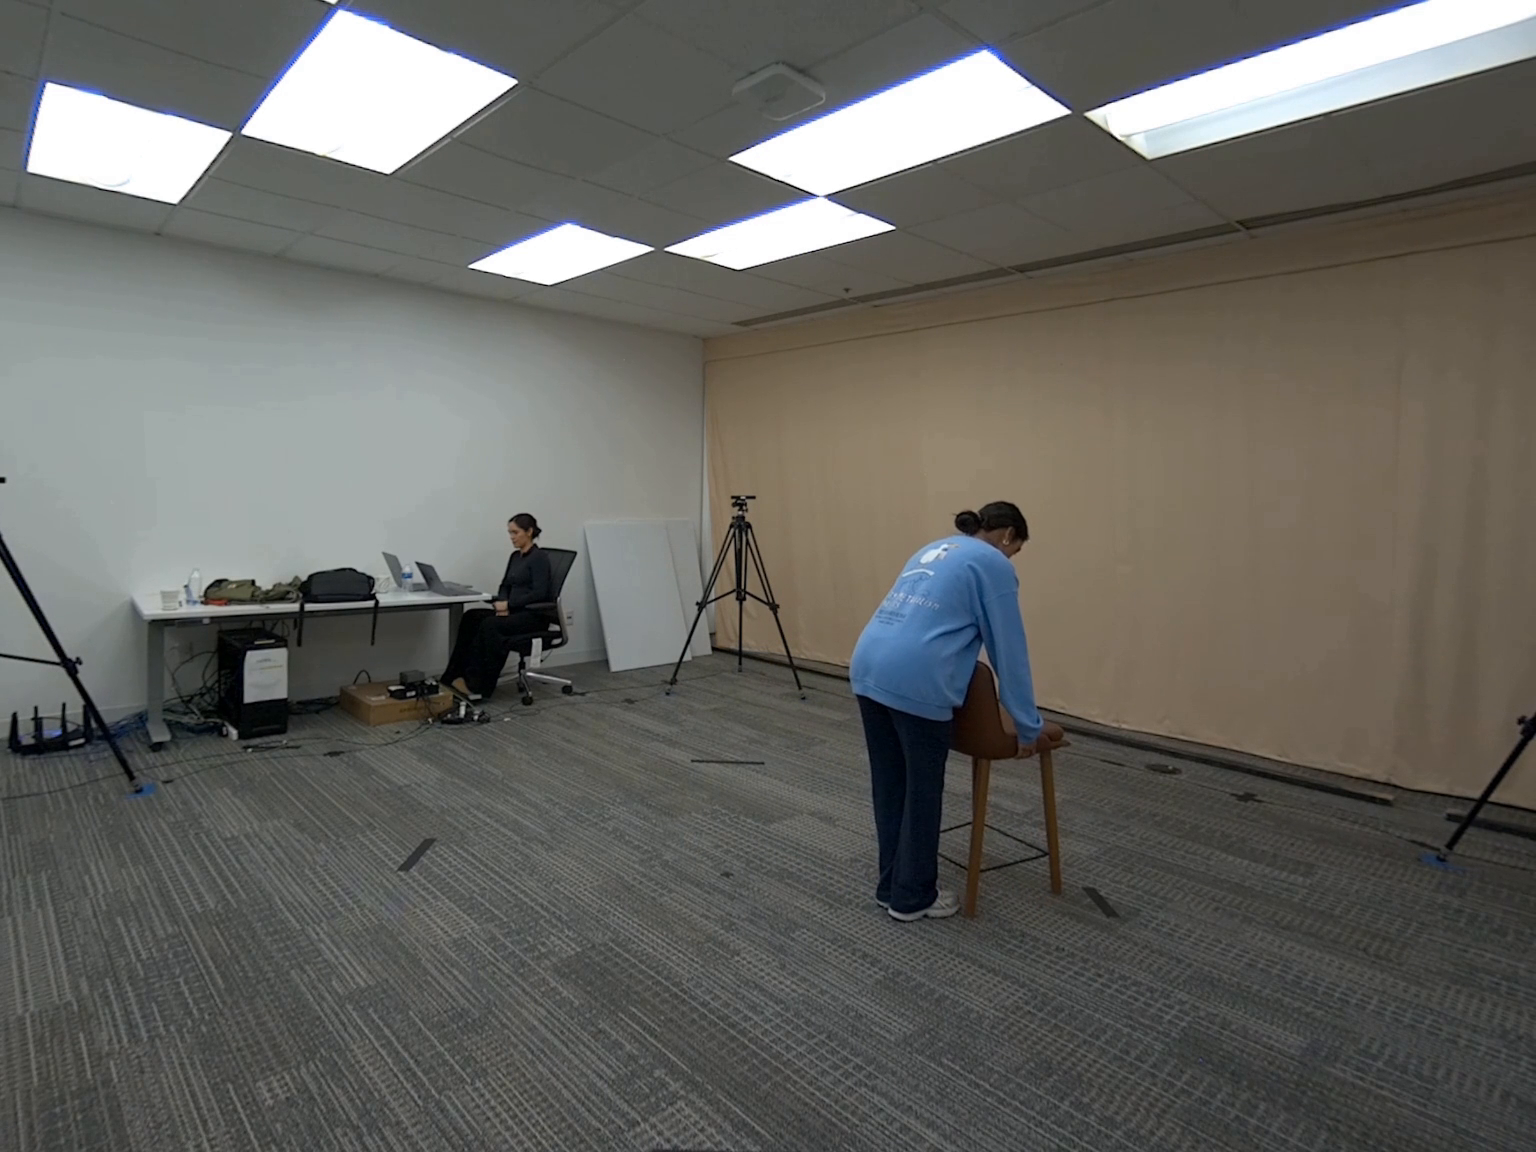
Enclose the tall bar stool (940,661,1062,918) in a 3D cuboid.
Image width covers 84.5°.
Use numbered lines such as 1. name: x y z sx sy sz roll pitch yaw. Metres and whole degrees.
1. tall bar stool: 0.768 0.690 3.059 0.458 0.887 0.467 -3 5 -32
